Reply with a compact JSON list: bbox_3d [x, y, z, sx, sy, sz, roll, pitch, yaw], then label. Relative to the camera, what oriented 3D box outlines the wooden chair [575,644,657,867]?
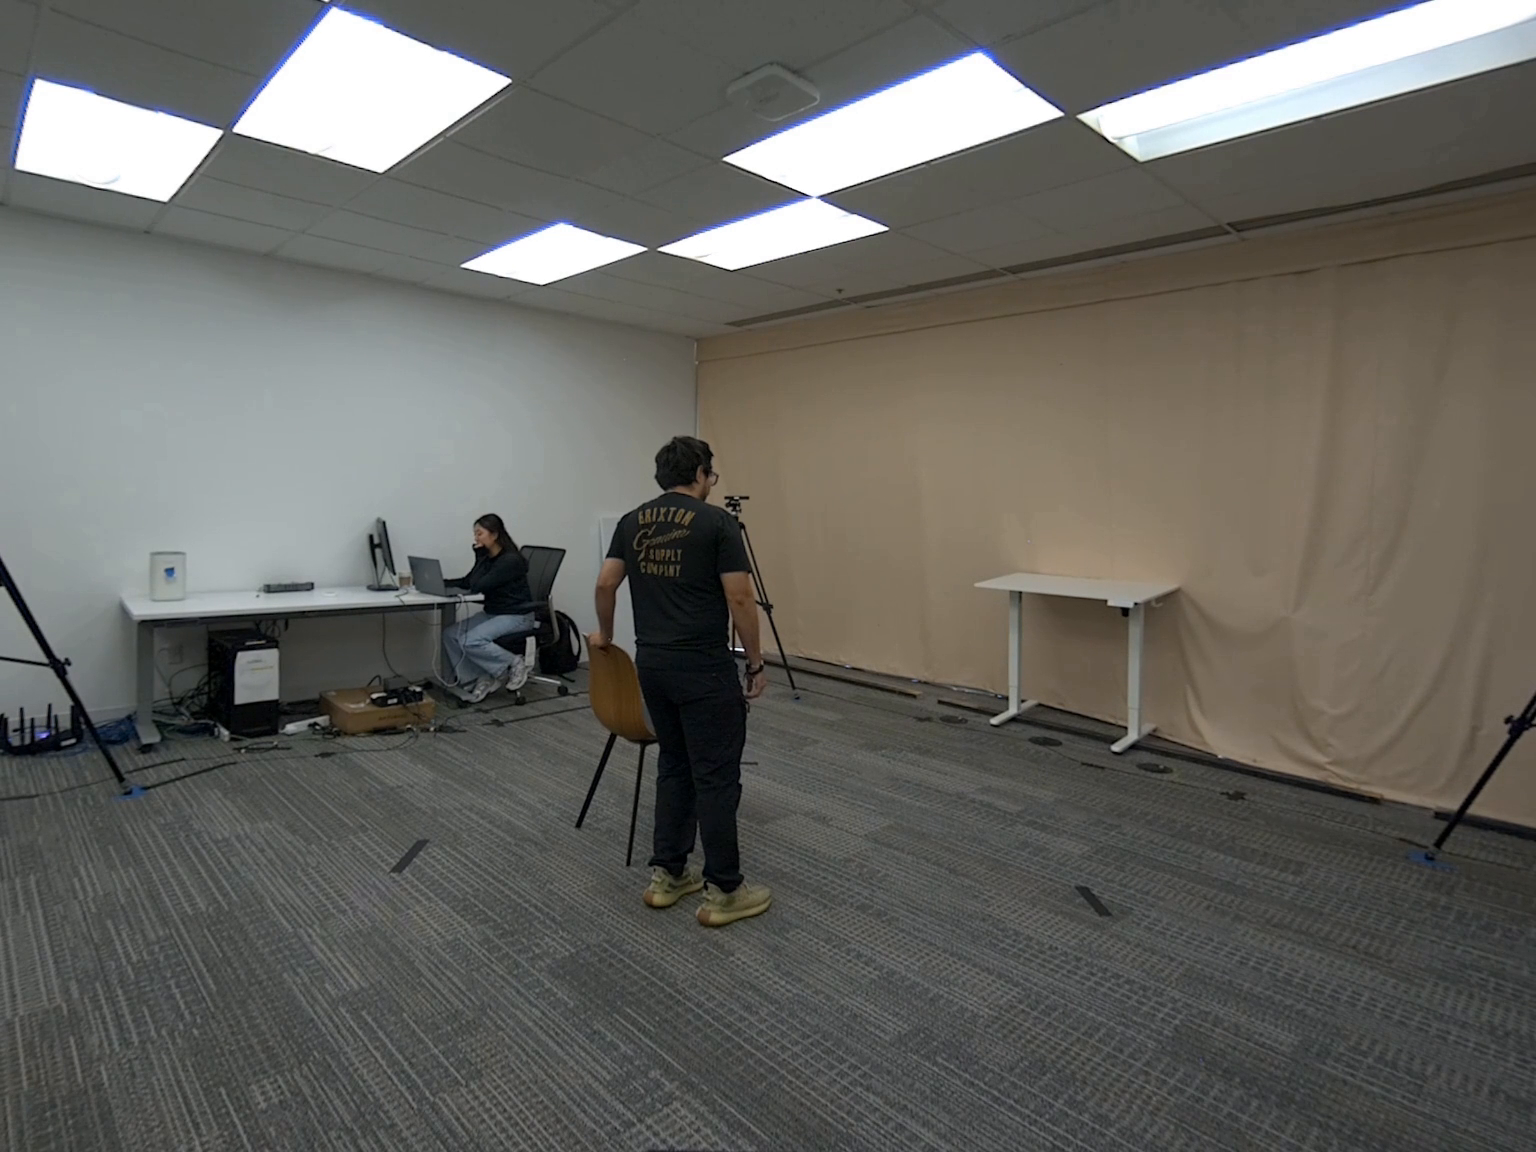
[{"bbox_3d":[-0.479,0.640,3.447,0.512,0.873,0.490,-6,8,-37],"label":"wooden chair"}]
